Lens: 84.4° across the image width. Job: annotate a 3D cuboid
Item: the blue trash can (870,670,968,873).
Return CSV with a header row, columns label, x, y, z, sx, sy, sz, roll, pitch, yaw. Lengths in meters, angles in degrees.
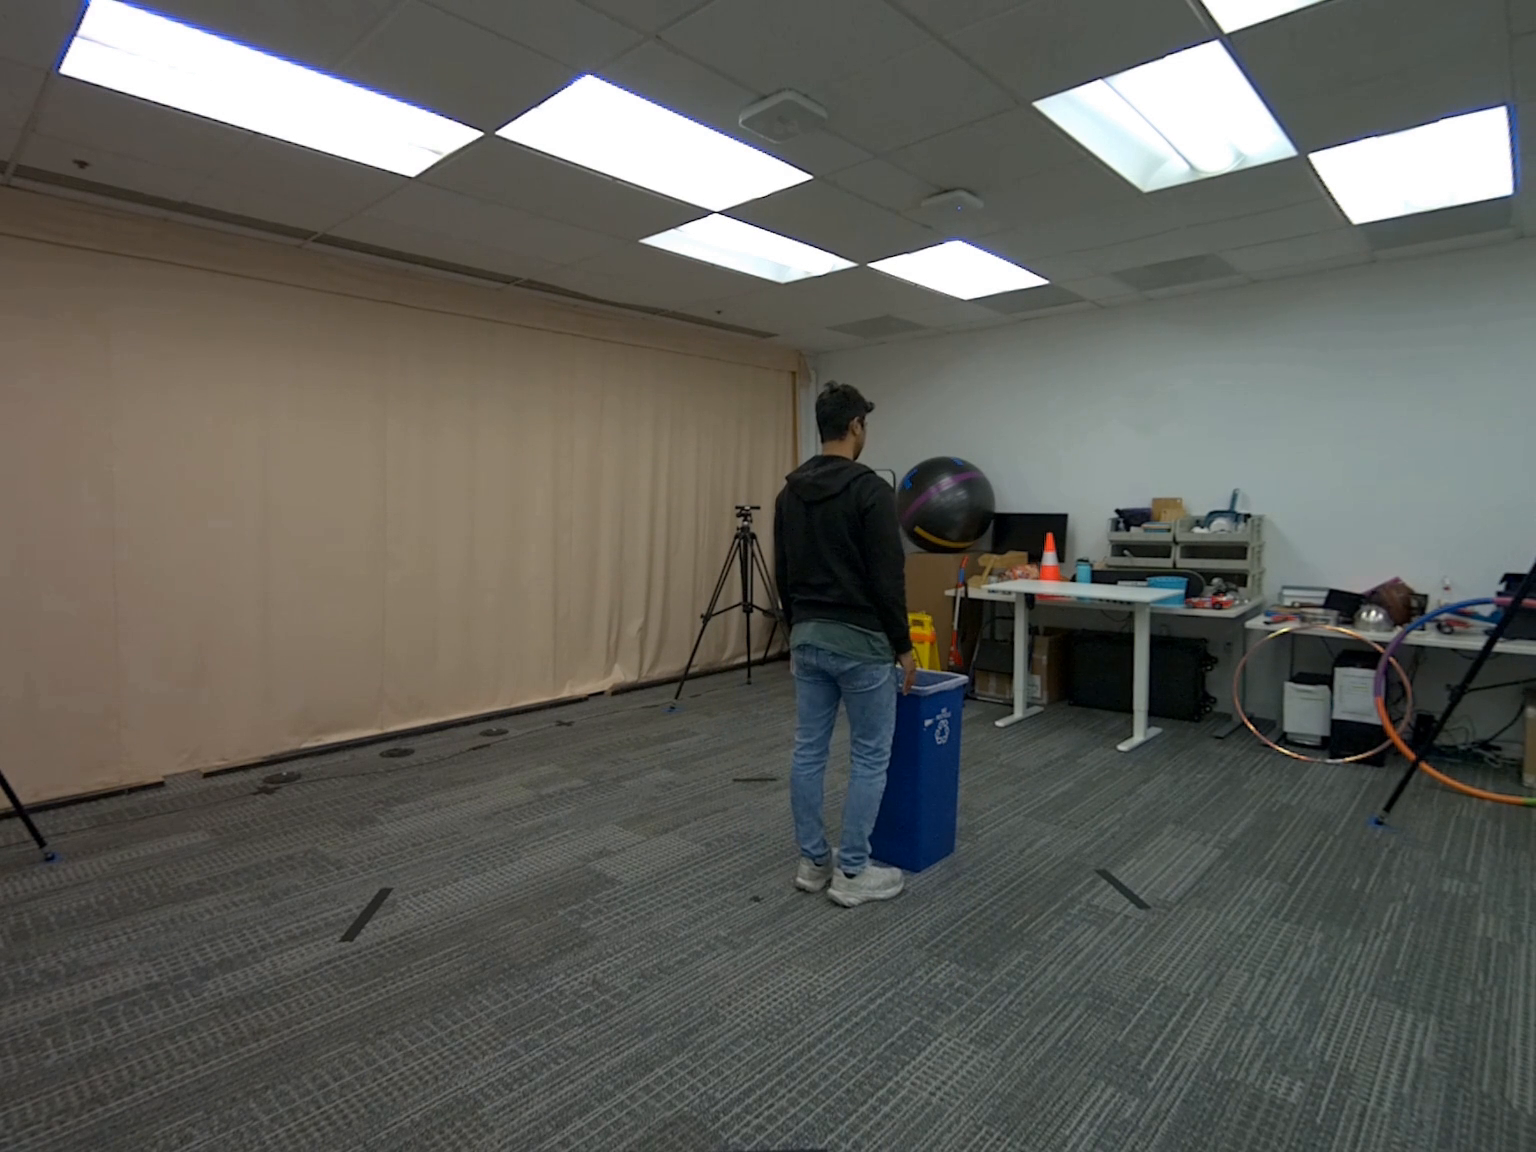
label,x,y,z,sx,sy,sz,roll,pitch,yaw
blue trash can,0.556,0.753,3.385,0.391,0.712,0.362,3,5,41
